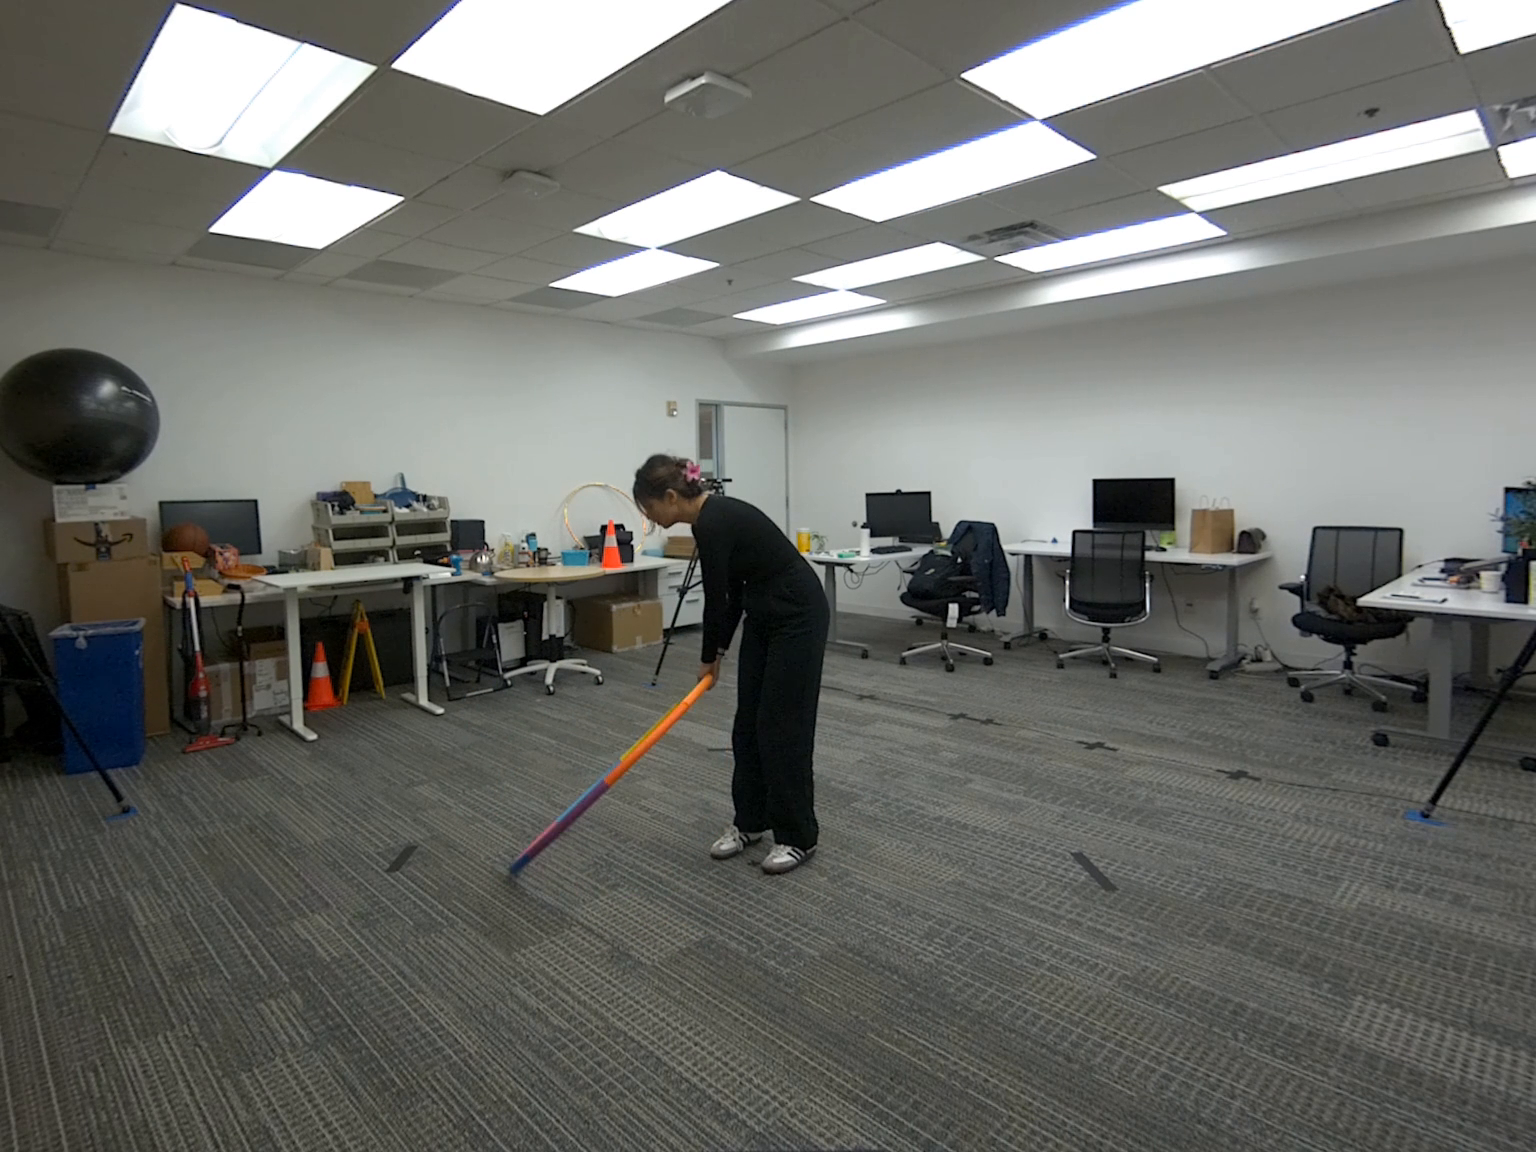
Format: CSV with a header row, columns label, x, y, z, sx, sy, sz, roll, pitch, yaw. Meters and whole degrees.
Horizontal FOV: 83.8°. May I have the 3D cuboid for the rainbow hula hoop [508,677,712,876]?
label,x,y,z,sx,sy,sz,roll,pitch,yaw
rainbow hula hoop,-0.565,0.711,3.119,0.978,0.036,0.974,-43,-1,-6
